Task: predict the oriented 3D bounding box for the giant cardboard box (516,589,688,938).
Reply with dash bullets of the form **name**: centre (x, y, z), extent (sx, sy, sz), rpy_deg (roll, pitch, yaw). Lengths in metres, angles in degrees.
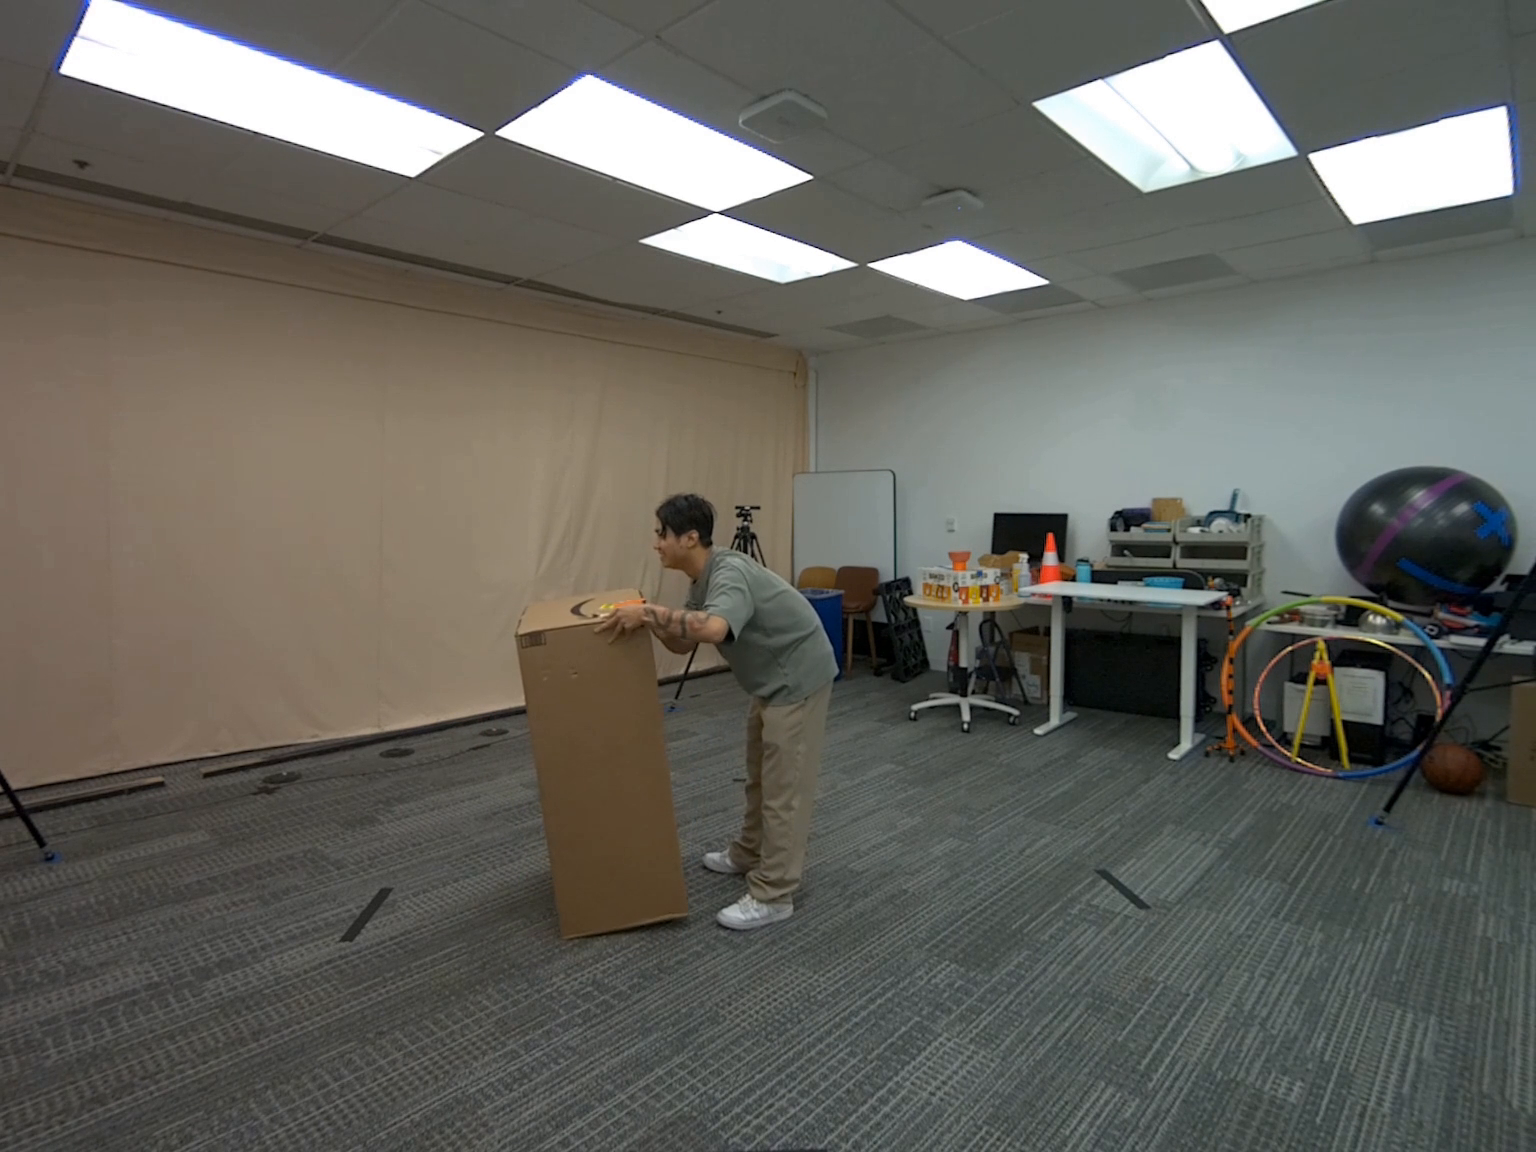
- **giant cardboard box**: centre (-0.582, 0.617, 2.964), extent (0.422, 1.021, 0.586), rpy_deg (-8, 7, -10)
